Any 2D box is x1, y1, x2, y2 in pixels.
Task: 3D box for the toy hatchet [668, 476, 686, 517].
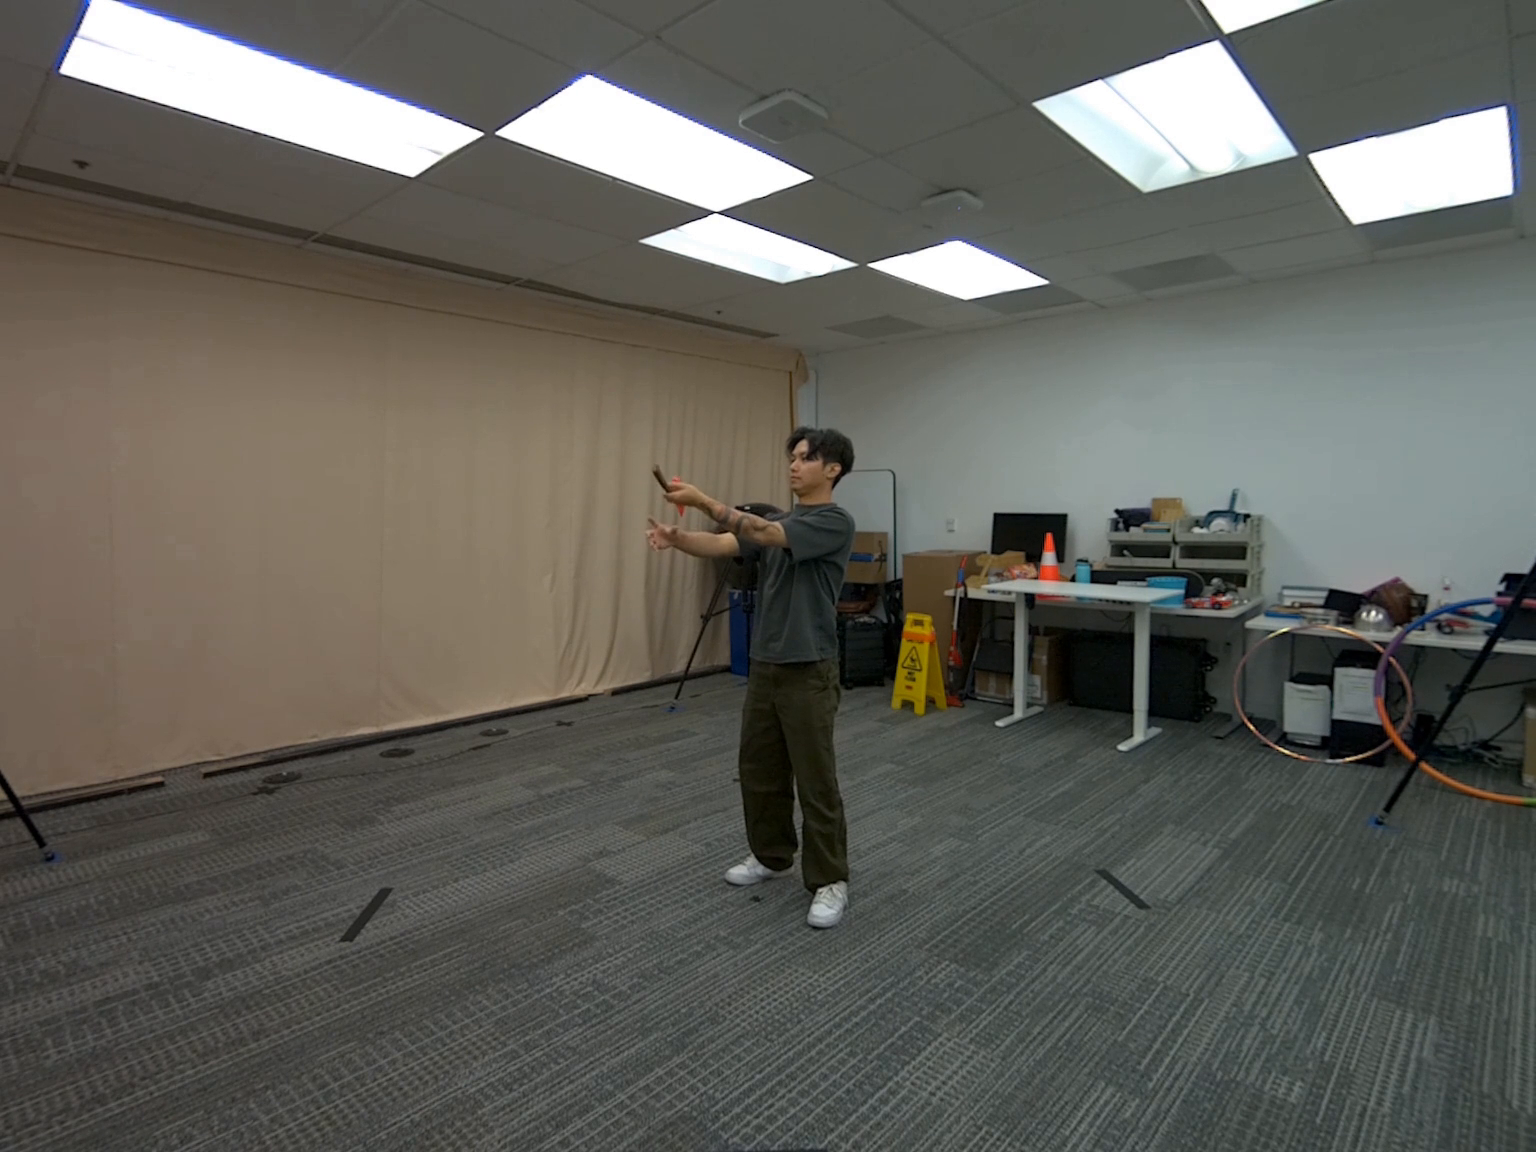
[{"bbox_3d":[-0.321,-0.312,2.737,0.030,0.133,0.262,-9,-31,12],"label":"toy hatchet"}]
